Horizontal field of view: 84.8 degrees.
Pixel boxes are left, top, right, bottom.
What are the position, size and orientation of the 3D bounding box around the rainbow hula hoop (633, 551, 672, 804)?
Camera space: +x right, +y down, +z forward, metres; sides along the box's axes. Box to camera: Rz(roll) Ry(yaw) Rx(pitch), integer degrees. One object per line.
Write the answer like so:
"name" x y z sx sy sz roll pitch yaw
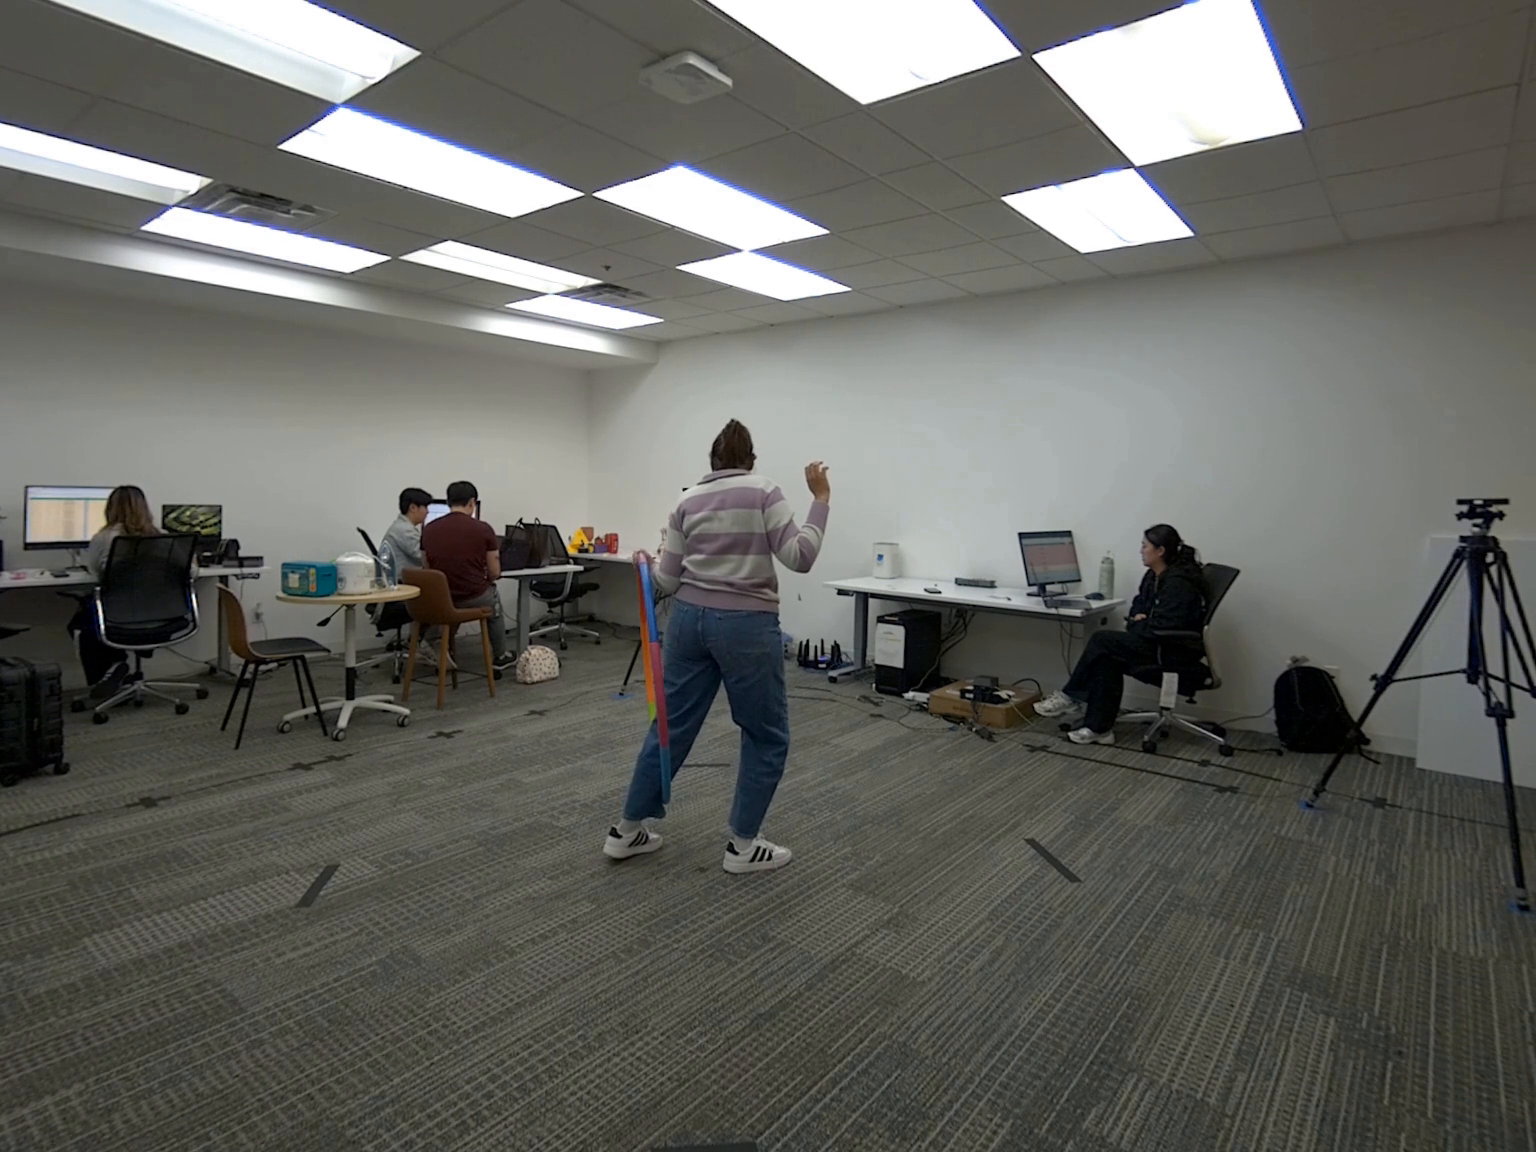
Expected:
"rainbow hula hoop" -0.473 0.391 3.417 0.051 0.981 0.997 -5 5 -9
